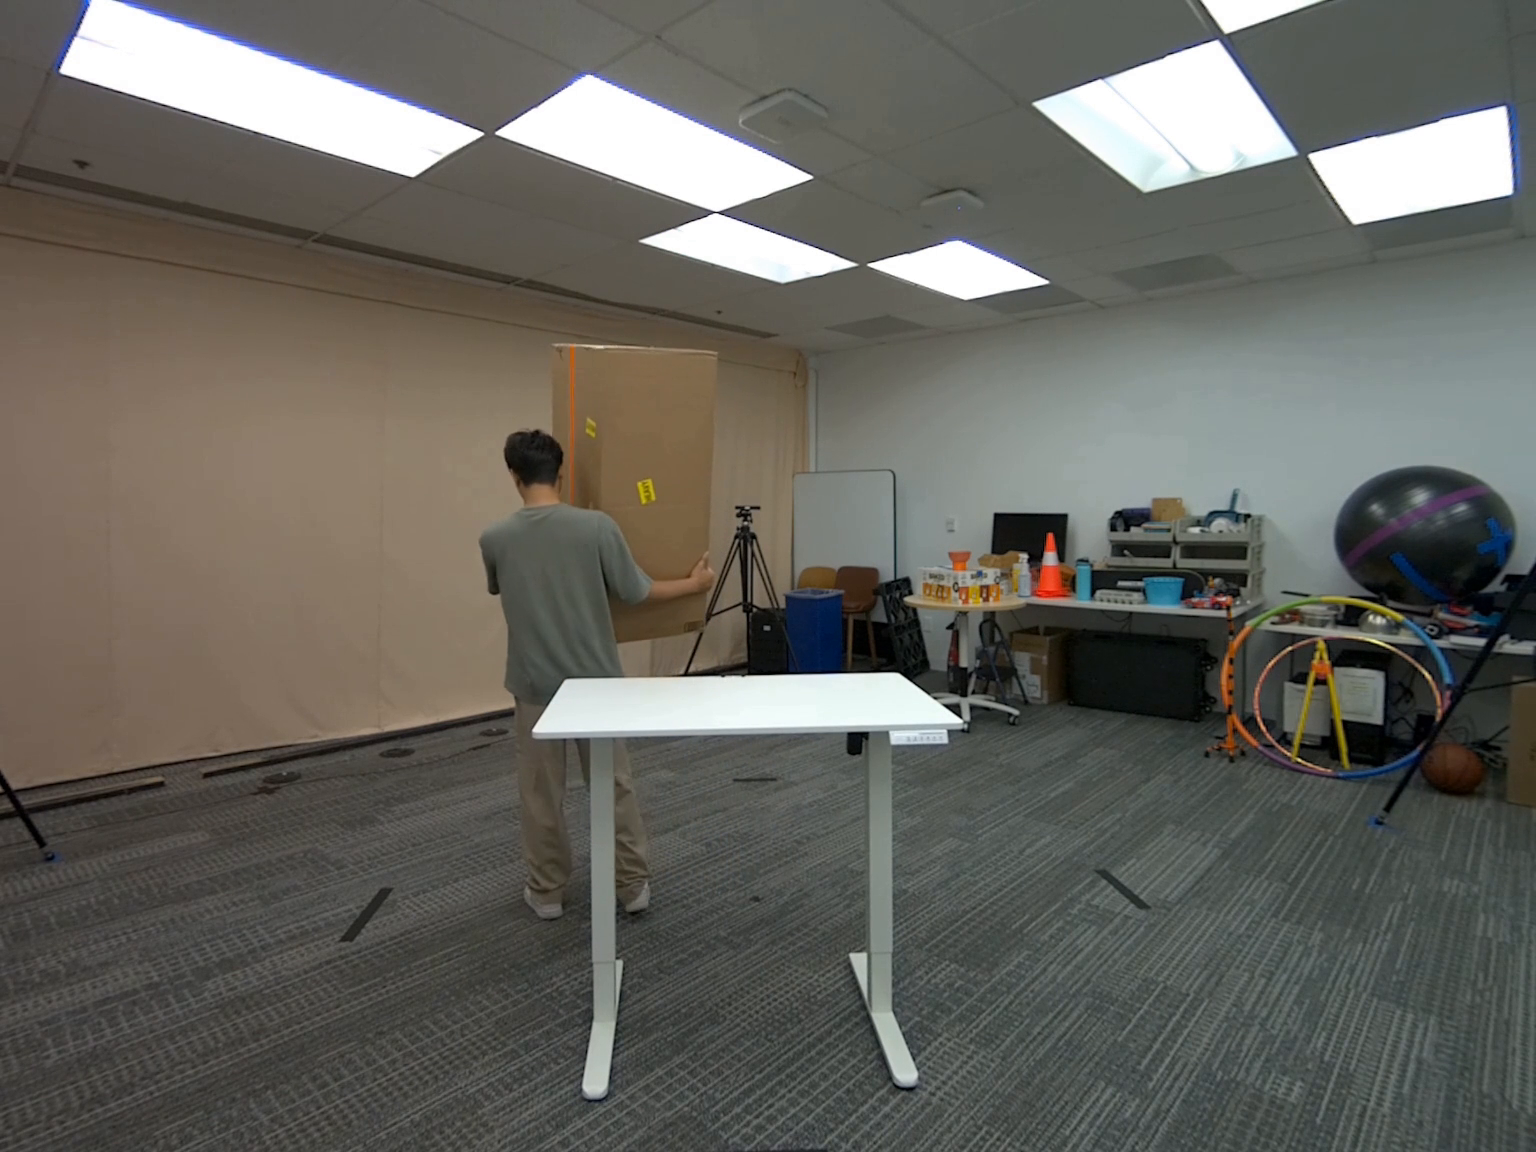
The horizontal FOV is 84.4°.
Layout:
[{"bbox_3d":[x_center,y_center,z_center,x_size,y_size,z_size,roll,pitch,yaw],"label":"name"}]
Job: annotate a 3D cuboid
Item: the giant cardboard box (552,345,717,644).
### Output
[{"bbox_3d":[-0.526,-0.332,3.166,0.415,1.018,0.597,-5,16,-29],"label":"giant cardboard box"}]
